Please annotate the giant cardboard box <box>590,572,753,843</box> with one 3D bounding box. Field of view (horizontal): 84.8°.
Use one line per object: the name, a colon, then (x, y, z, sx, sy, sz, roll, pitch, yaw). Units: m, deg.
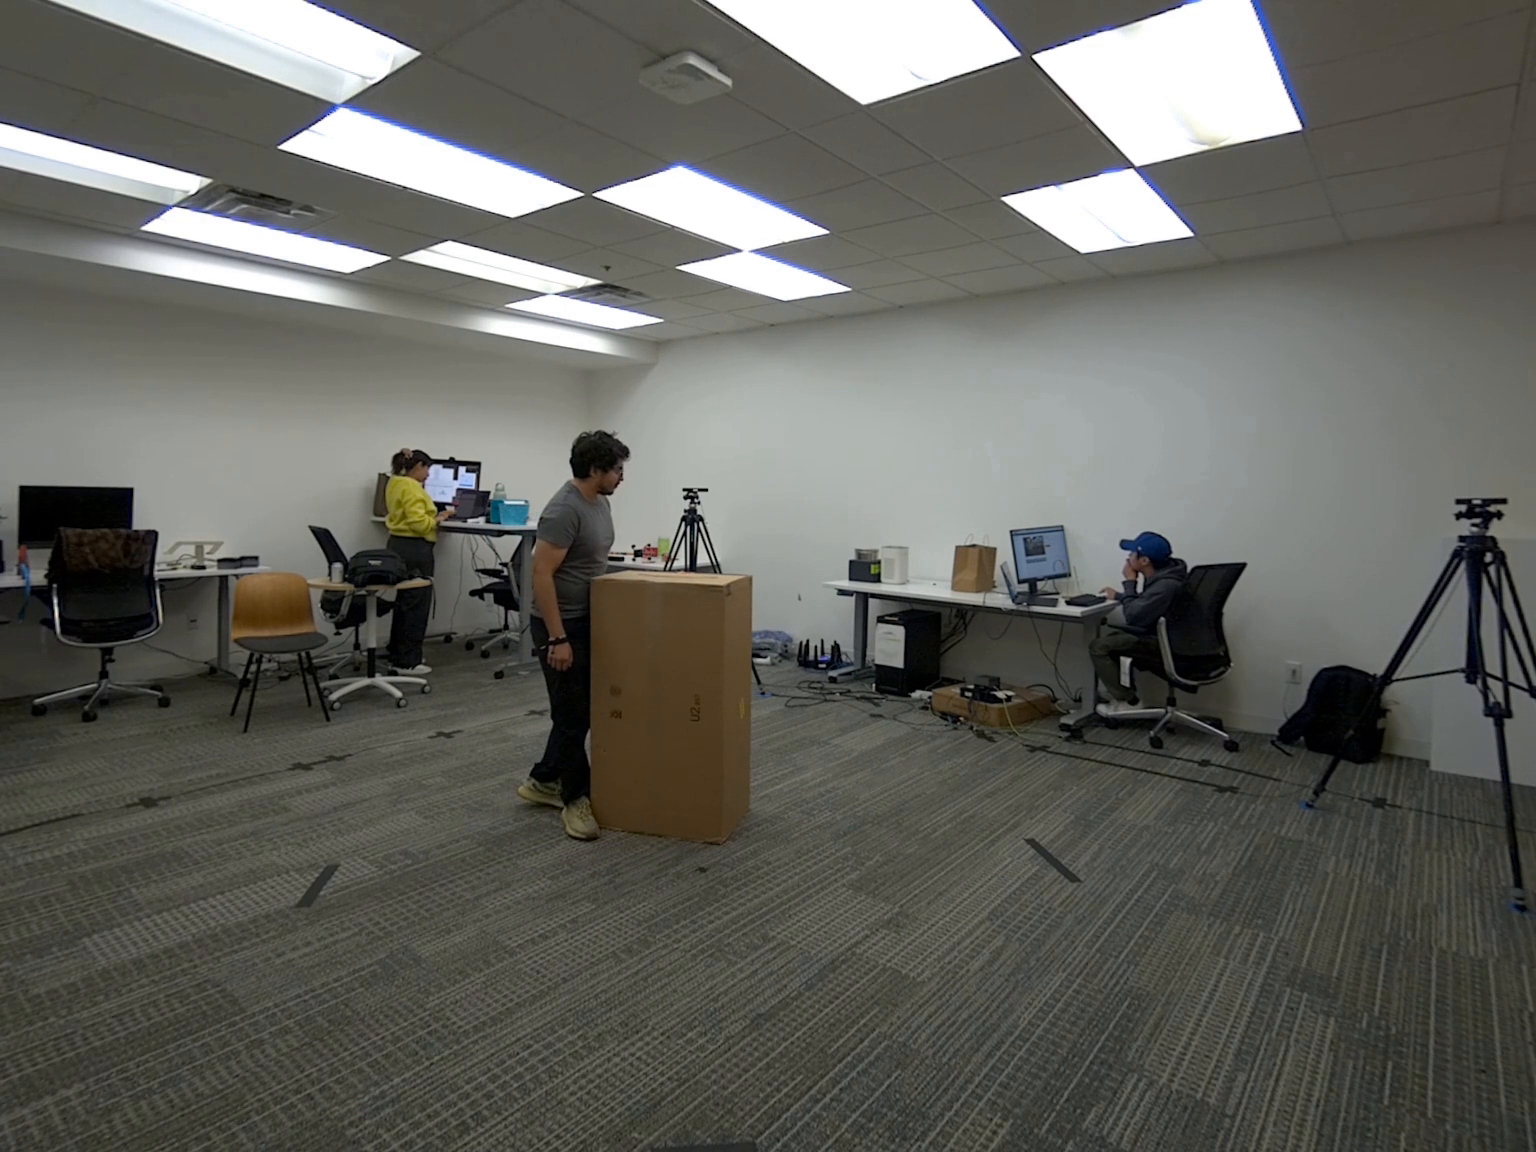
giant cardboard box: (-0.403, 0.515, 3.582, 0.594, 1.024, 0.440, 2, 4, 15)
